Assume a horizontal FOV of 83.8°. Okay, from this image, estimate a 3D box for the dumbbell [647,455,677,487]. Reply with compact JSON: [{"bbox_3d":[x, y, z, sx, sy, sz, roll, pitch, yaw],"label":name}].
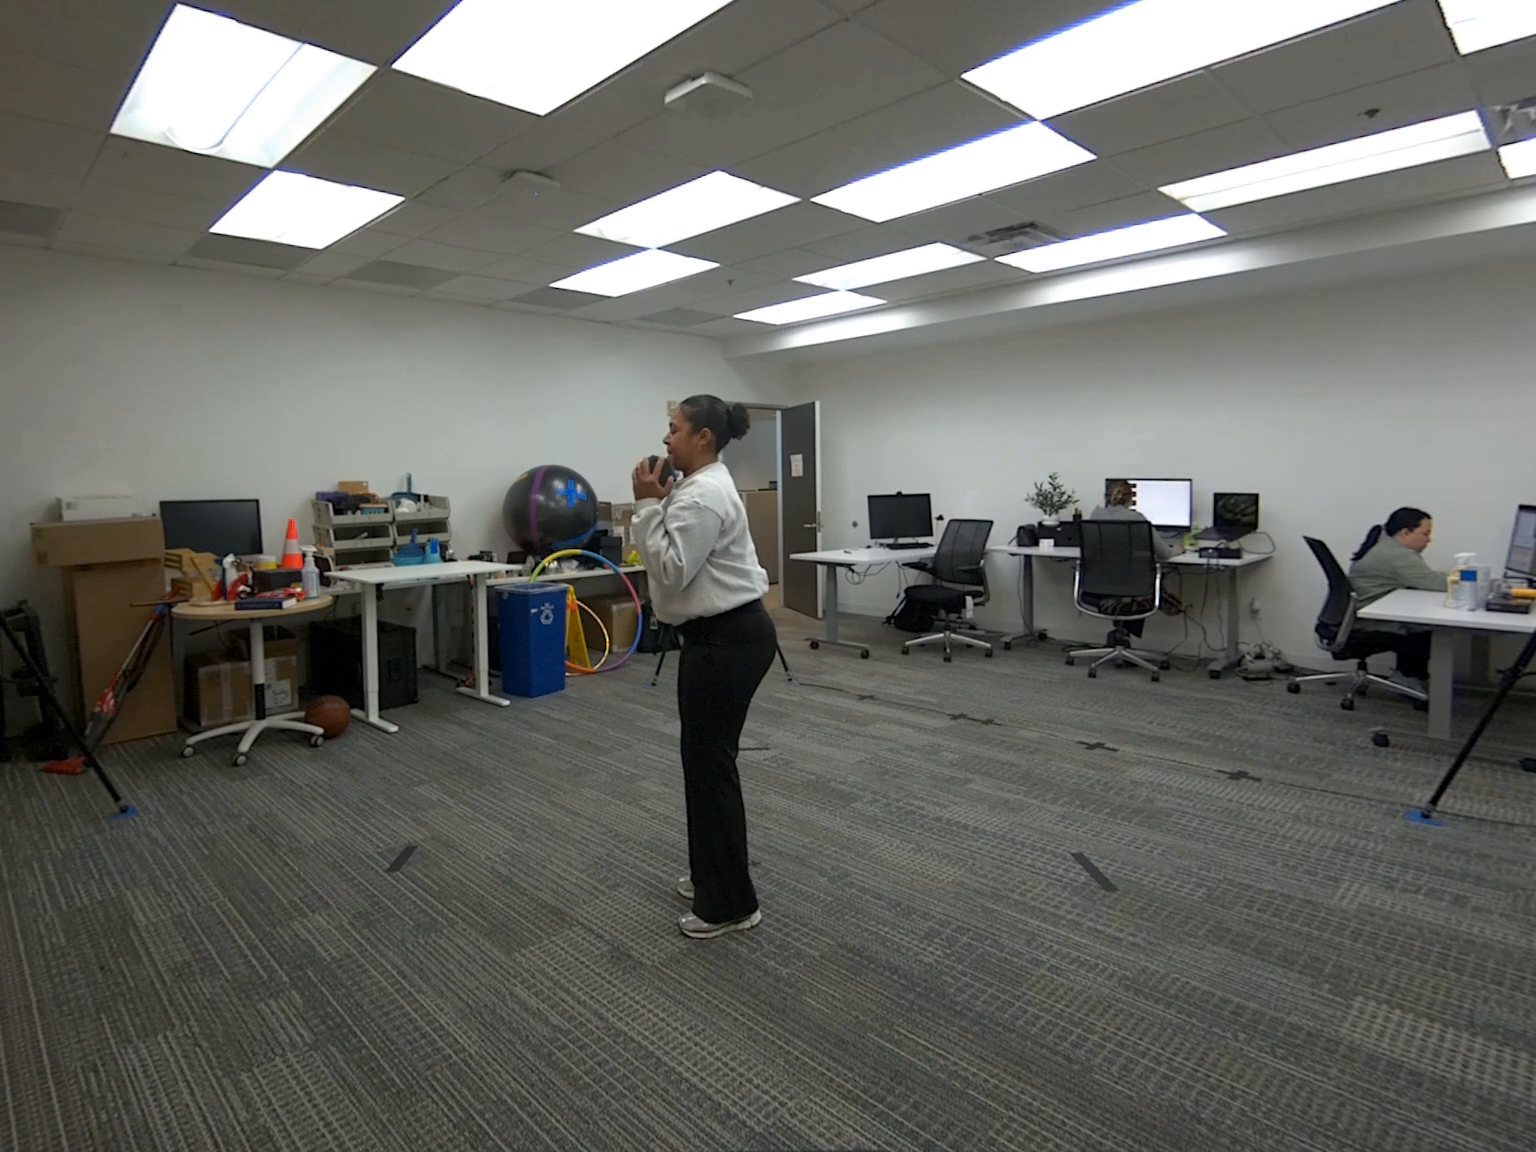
[{"bbox_3d":[-0.355,-0.302,2.667,0.108,0.123,0.294,38,-7,-5],"label":"dumbbell"}]
